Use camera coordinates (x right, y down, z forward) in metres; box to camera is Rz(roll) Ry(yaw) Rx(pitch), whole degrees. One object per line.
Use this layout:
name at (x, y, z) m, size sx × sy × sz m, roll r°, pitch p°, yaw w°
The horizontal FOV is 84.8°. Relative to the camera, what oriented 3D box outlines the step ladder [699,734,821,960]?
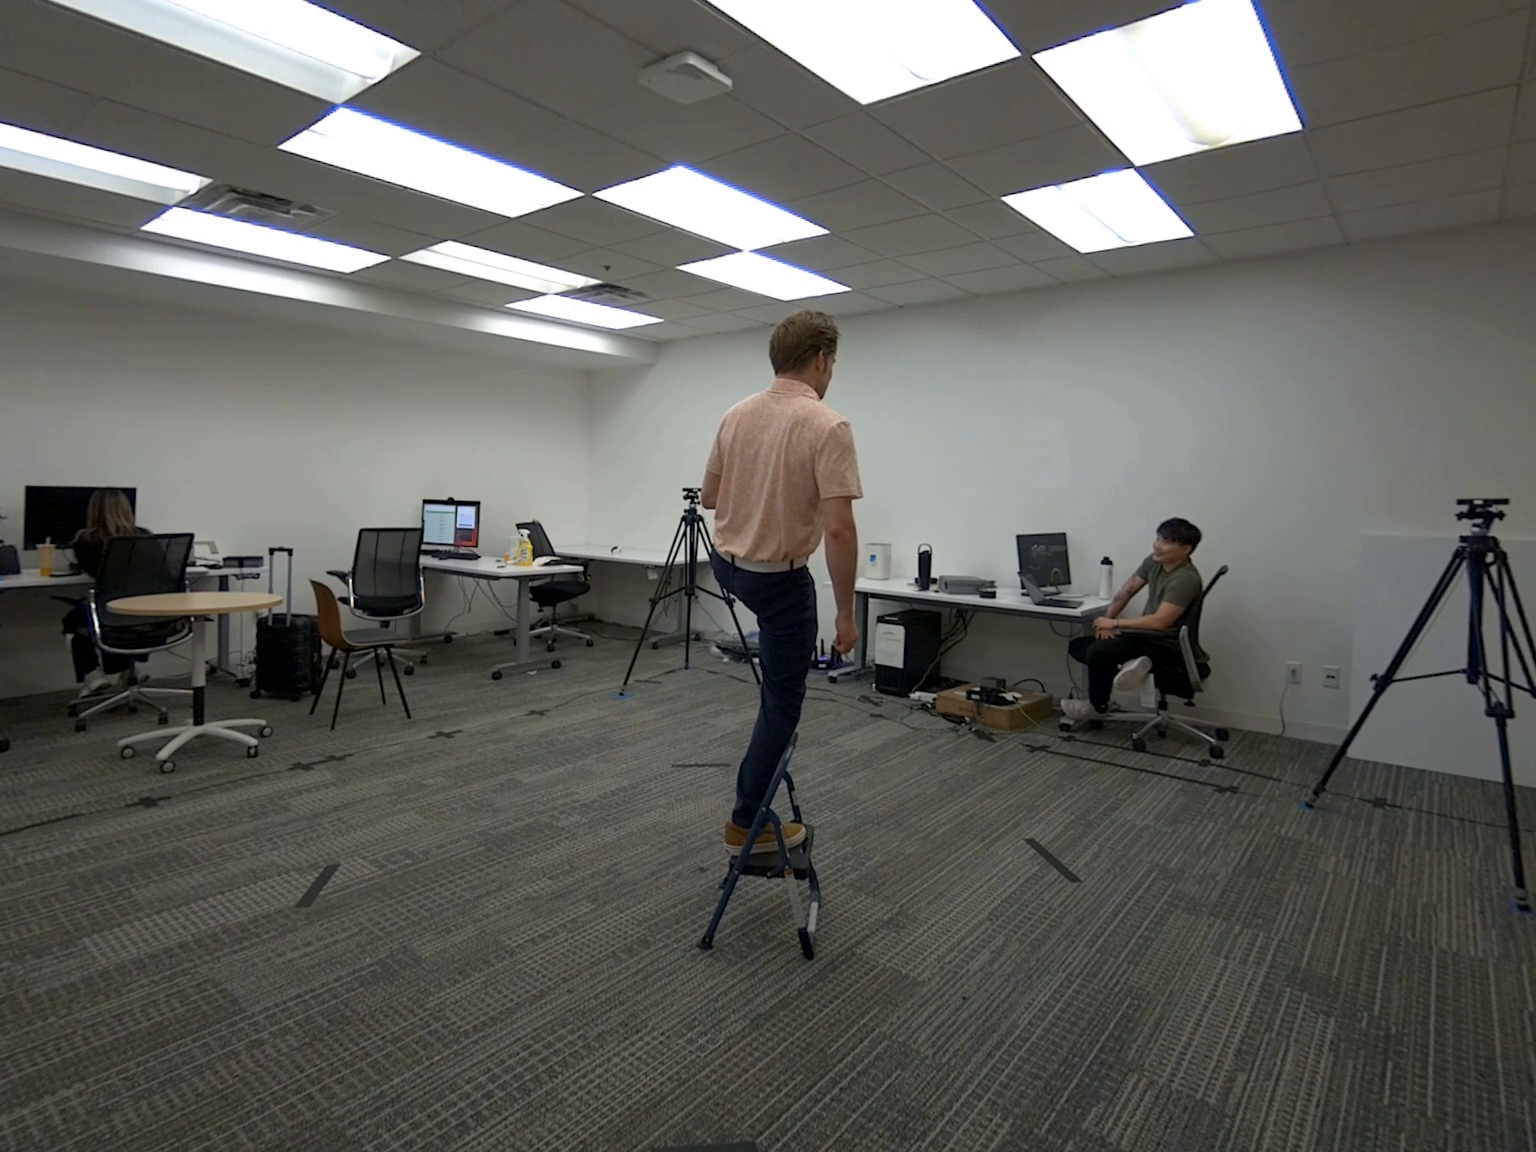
step ladder at (-0.013, 0.811, 2.731) m, size 0.353 × 0.604 × 0.428 m, roll 2°, pitch 4°, yaw 7°
